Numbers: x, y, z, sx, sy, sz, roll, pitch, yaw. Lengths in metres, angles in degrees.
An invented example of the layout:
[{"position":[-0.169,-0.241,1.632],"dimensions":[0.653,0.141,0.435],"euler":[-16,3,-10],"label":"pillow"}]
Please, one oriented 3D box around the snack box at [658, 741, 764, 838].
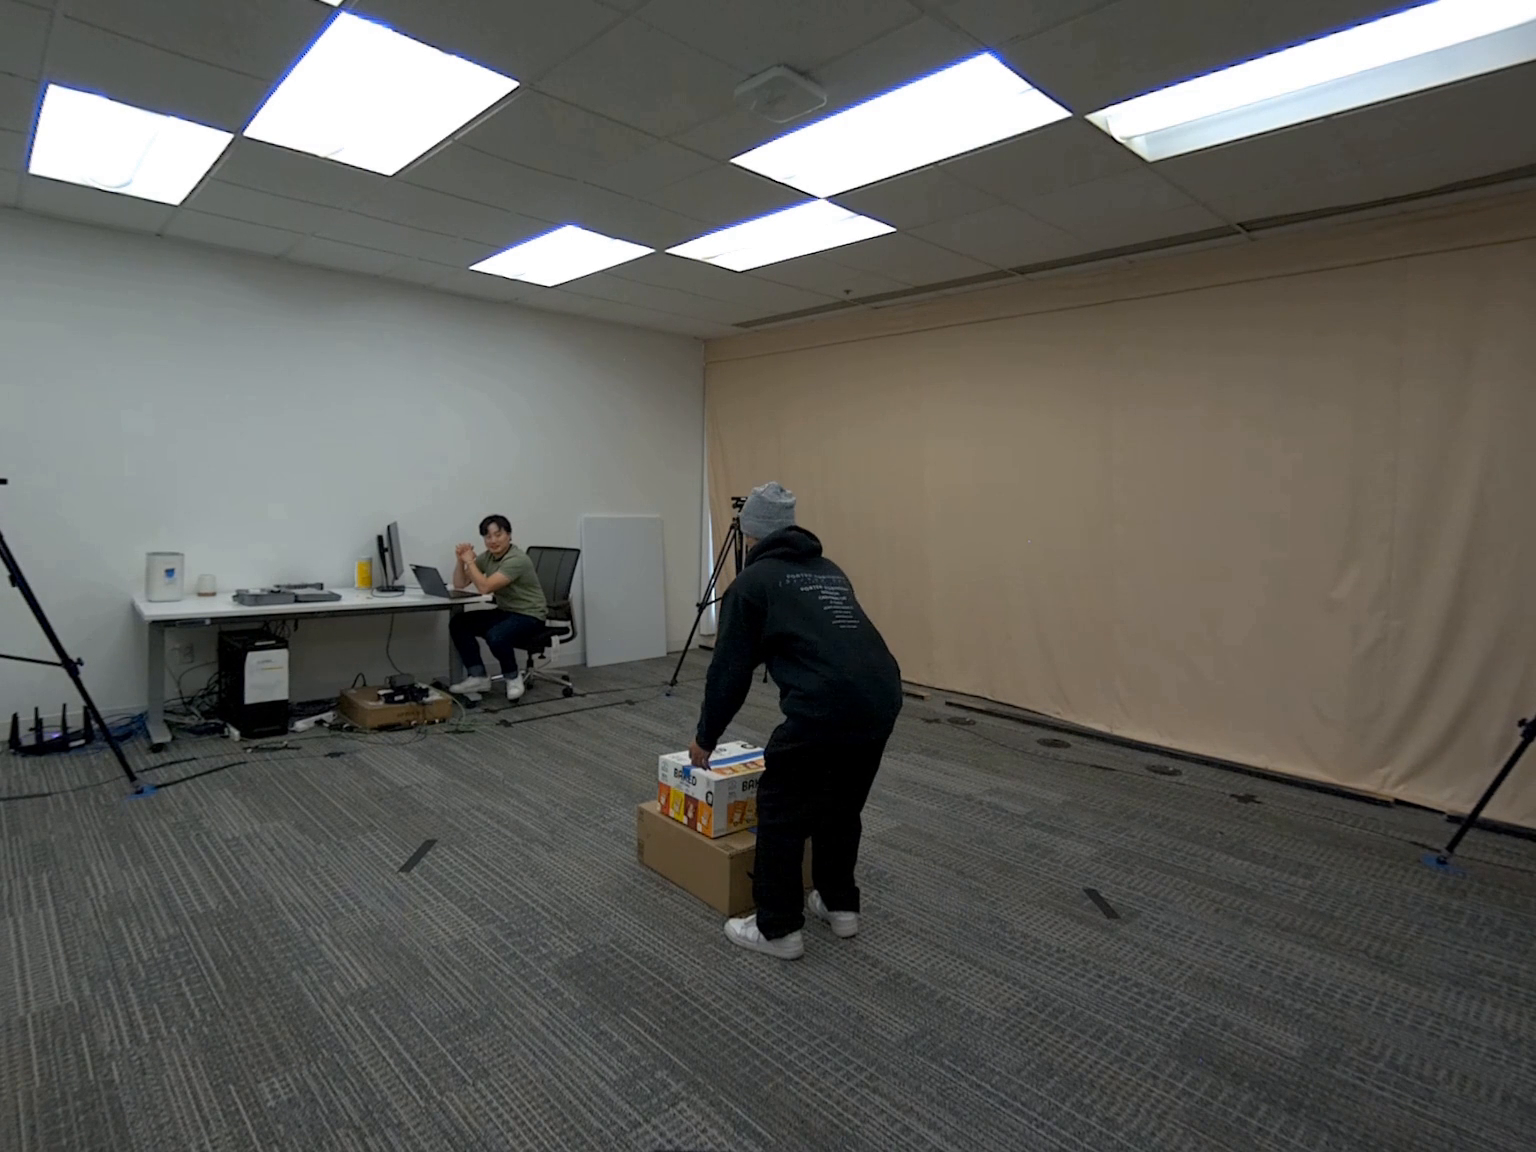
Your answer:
[{"position":[-0.156,0.785,3.140],"dimensions":[0.396,0.205,0.349],"euler":[-1,5,-41],"label":"snack box"}]
